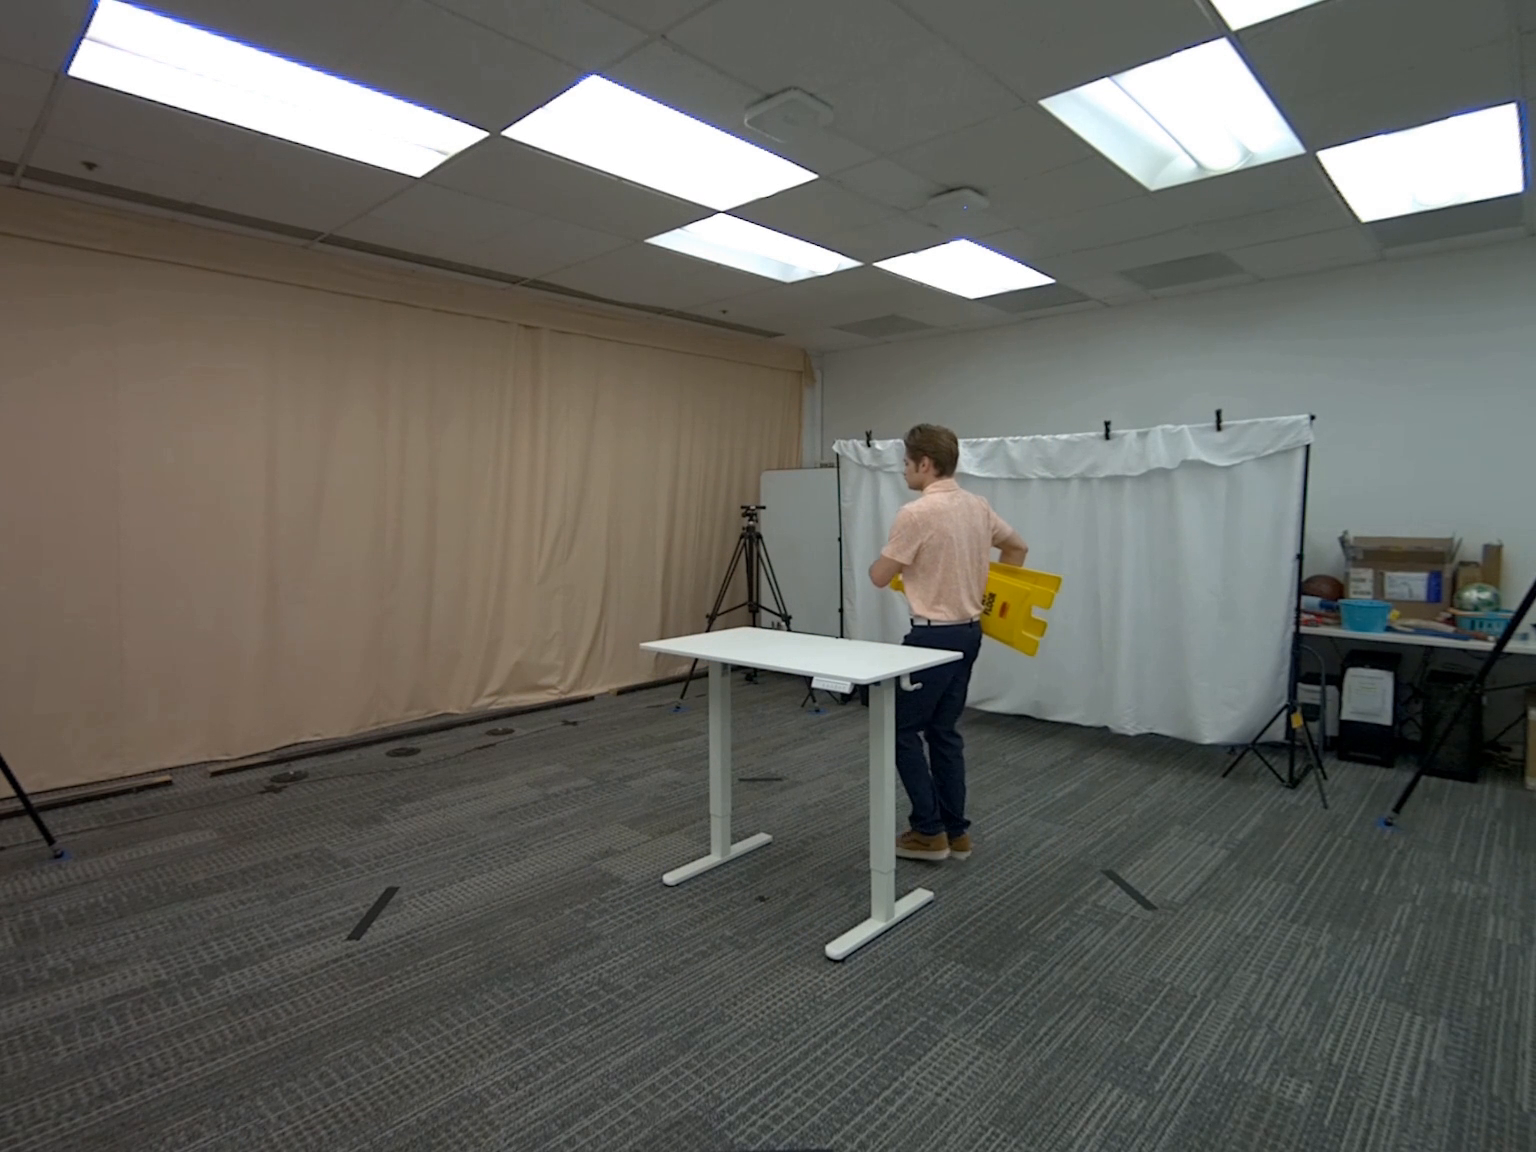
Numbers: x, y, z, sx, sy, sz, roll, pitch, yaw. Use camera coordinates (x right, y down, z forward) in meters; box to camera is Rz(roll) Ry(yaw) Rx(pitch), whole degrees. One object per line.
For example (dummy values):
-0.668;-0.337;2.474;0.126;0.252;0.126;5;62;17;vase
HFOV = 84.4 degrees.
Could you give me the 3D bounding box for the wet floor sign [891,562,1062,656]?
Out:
0.840;0.064;3.476;0.665;0.280;0.284;20;23;26;wet floor sign
